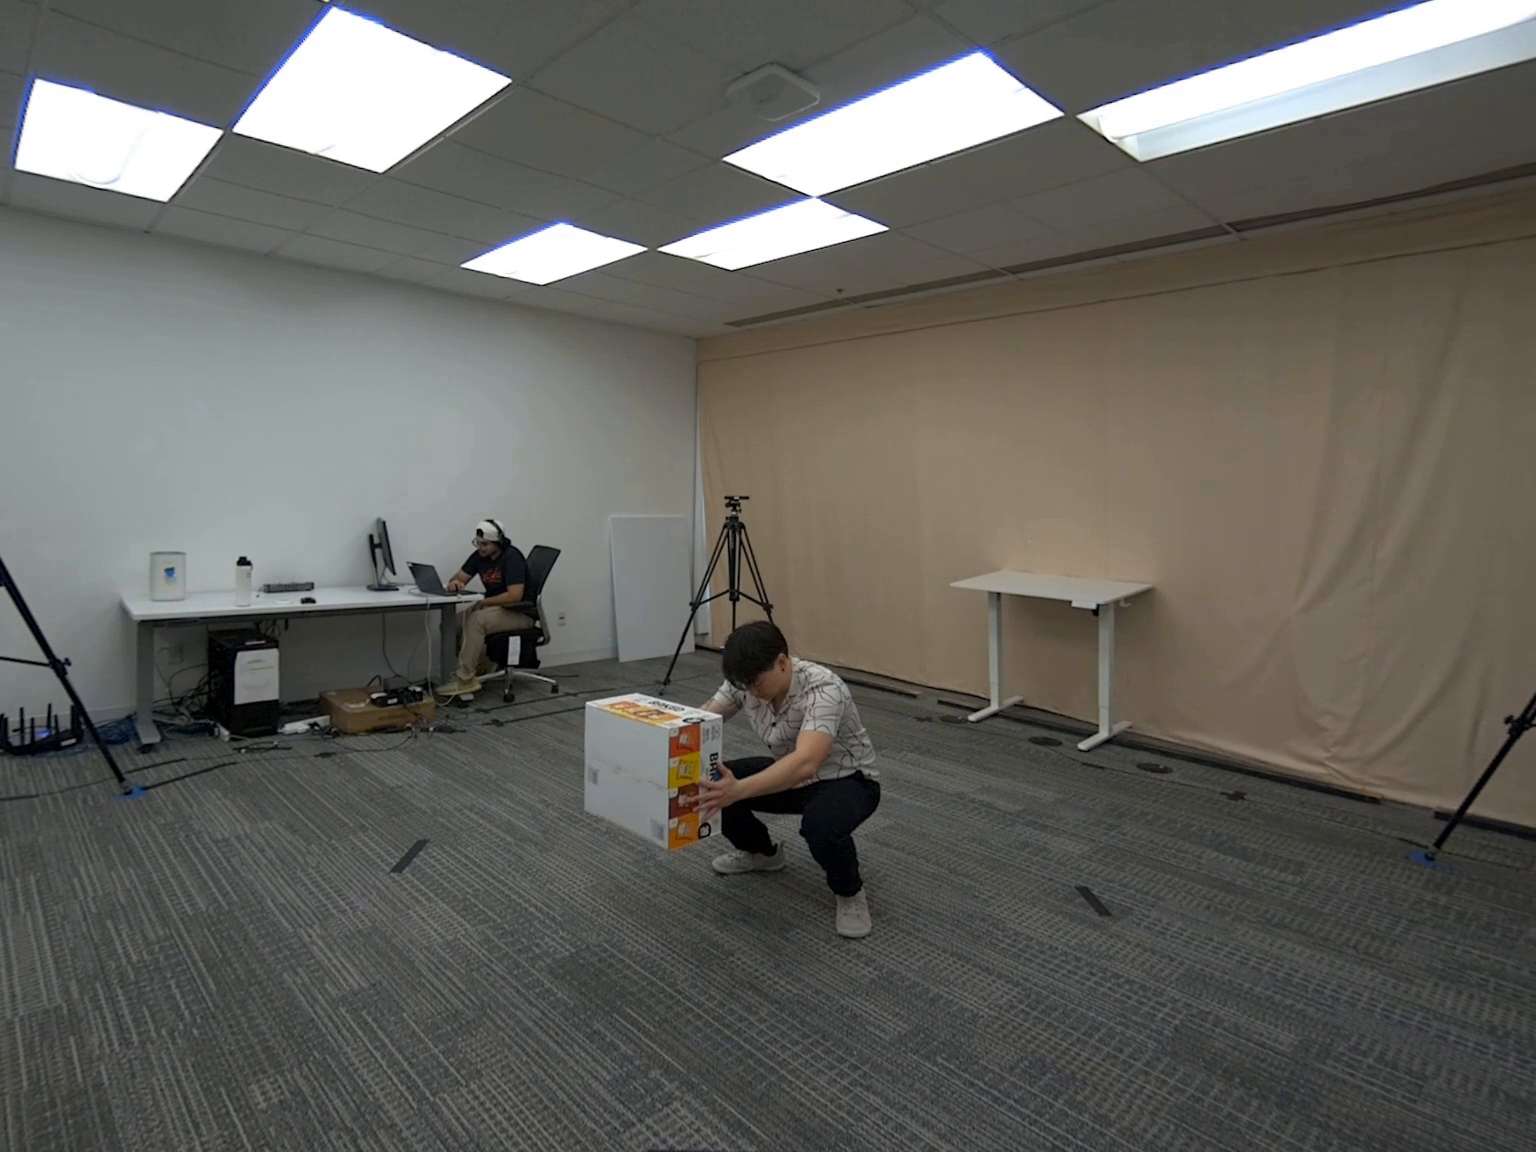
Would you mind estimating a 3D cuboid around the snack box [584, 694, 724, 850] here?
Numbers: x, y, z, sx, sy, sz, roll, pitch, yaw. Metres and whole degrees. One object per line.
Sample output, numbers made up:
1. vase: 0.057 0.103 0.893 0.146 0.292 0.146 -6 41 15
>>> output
1. snack box: -0.353 0.559 2.495 0.415 0.340 0.201 4 3 44
